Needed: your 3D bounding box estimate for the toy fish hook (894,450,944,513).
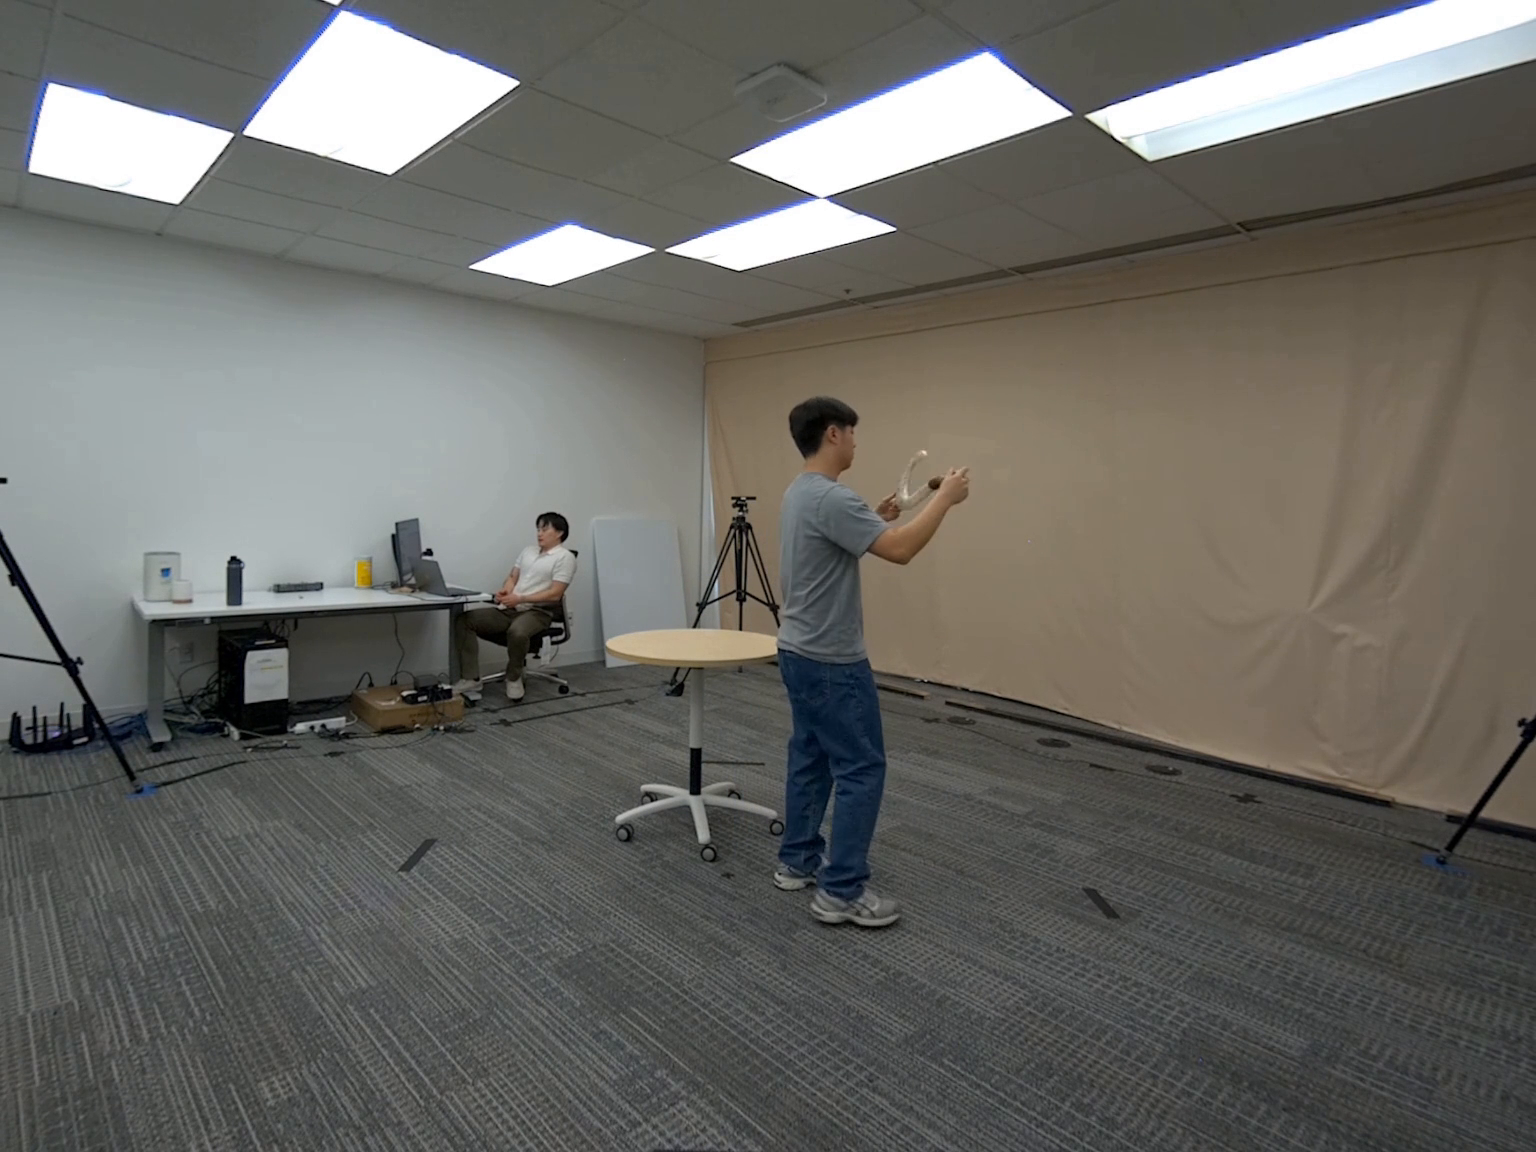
[{"bbox_3d":[0.574,-0.348,3.004,0.048,0.225,0.511,10,-6,-14],"label":"toy fish hook"}]
